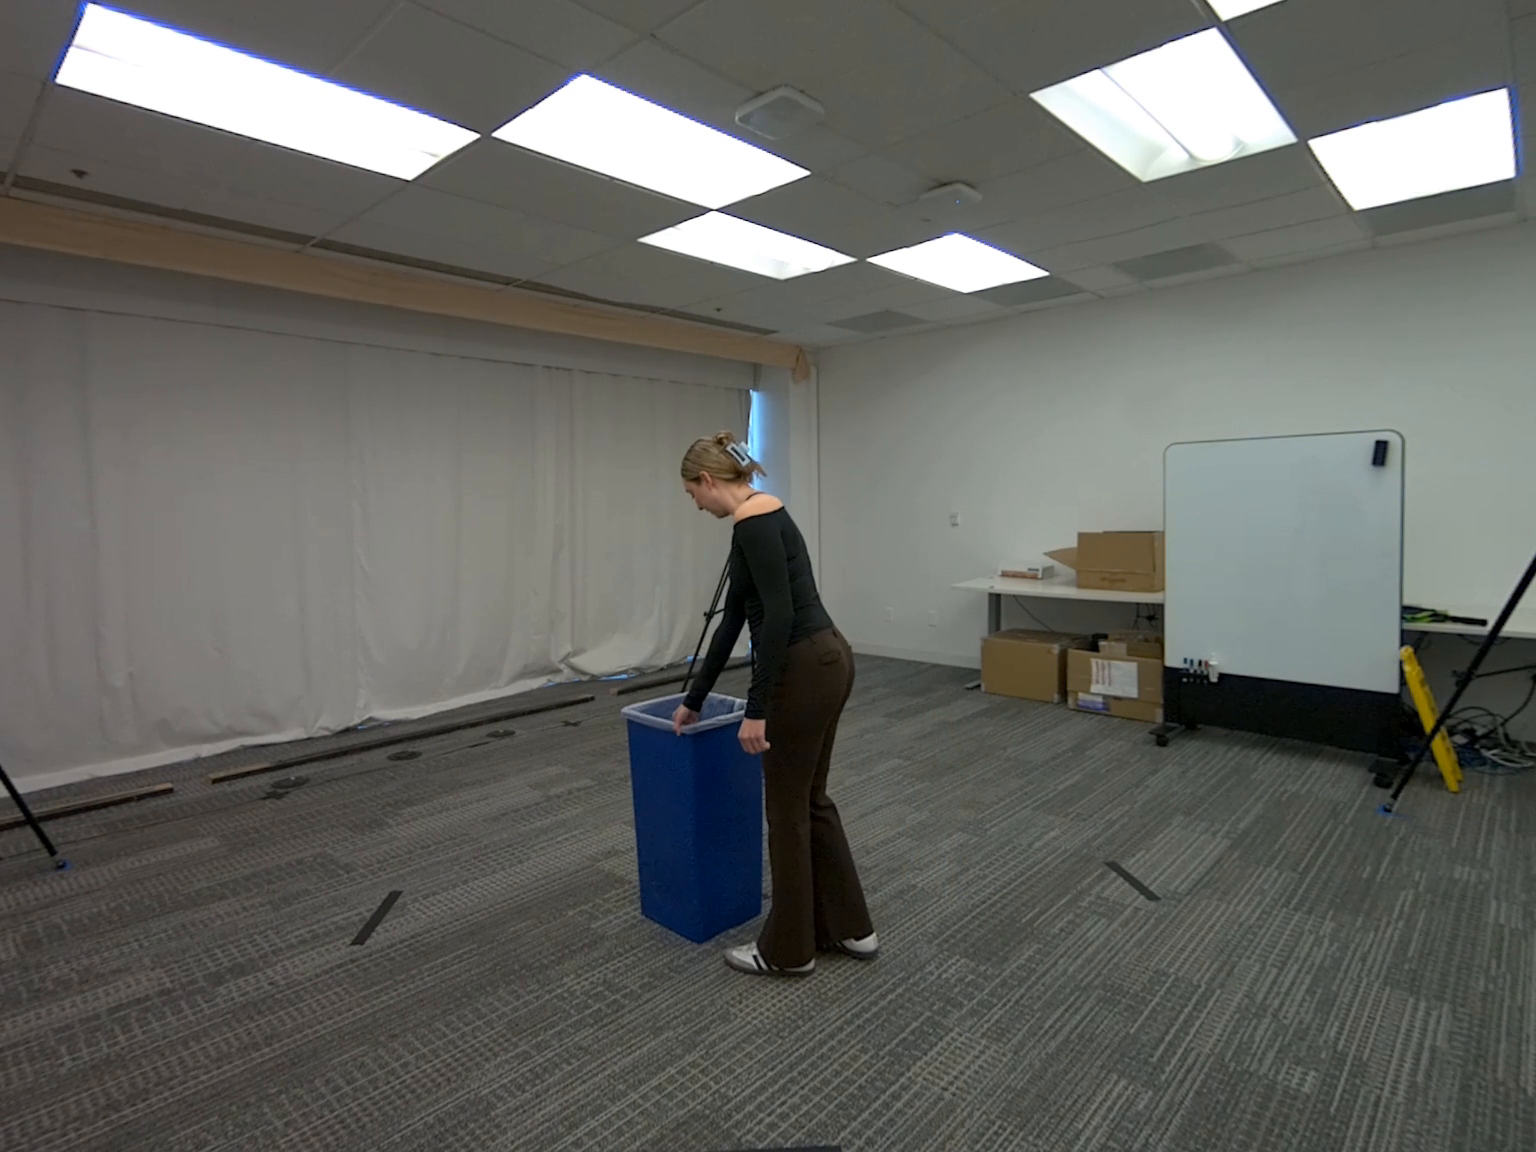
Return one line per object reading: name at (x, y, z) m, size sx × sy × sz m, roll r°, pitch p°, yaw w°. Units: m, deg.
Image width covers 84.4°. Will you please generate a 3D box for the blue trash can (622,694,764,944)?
blue trash can at (-0.237, 0.792, 2.849) m, size 0.363 × 0.712 × 0.390 m, roll -5°, pitch 5°, yaw -44°
